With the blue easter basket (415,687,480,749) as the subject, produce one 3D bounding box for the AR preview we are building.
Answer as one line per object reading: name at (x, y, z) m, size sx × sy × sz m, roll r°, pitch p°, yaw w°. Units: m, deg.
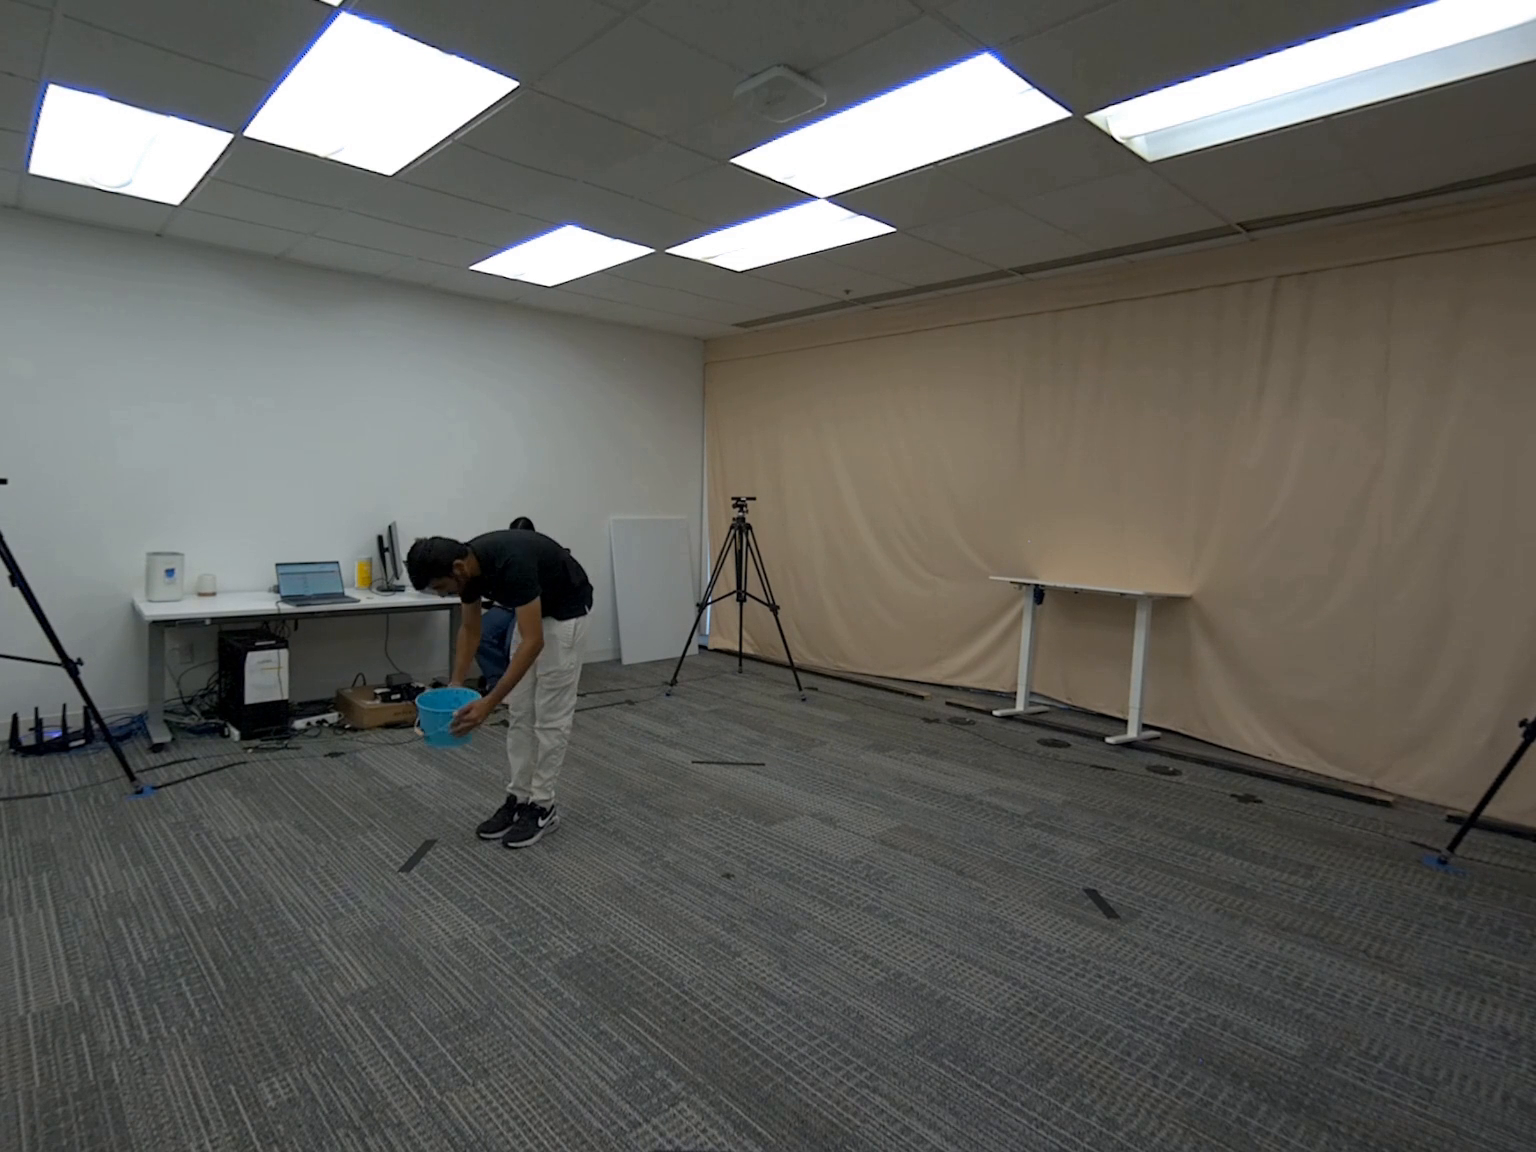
blue easter basket at (-1.219, 0.517, 3.146) m, size 0.243 × 0.154 × 0.246 m, roll 6°, pitch 14°, yaw -3°
